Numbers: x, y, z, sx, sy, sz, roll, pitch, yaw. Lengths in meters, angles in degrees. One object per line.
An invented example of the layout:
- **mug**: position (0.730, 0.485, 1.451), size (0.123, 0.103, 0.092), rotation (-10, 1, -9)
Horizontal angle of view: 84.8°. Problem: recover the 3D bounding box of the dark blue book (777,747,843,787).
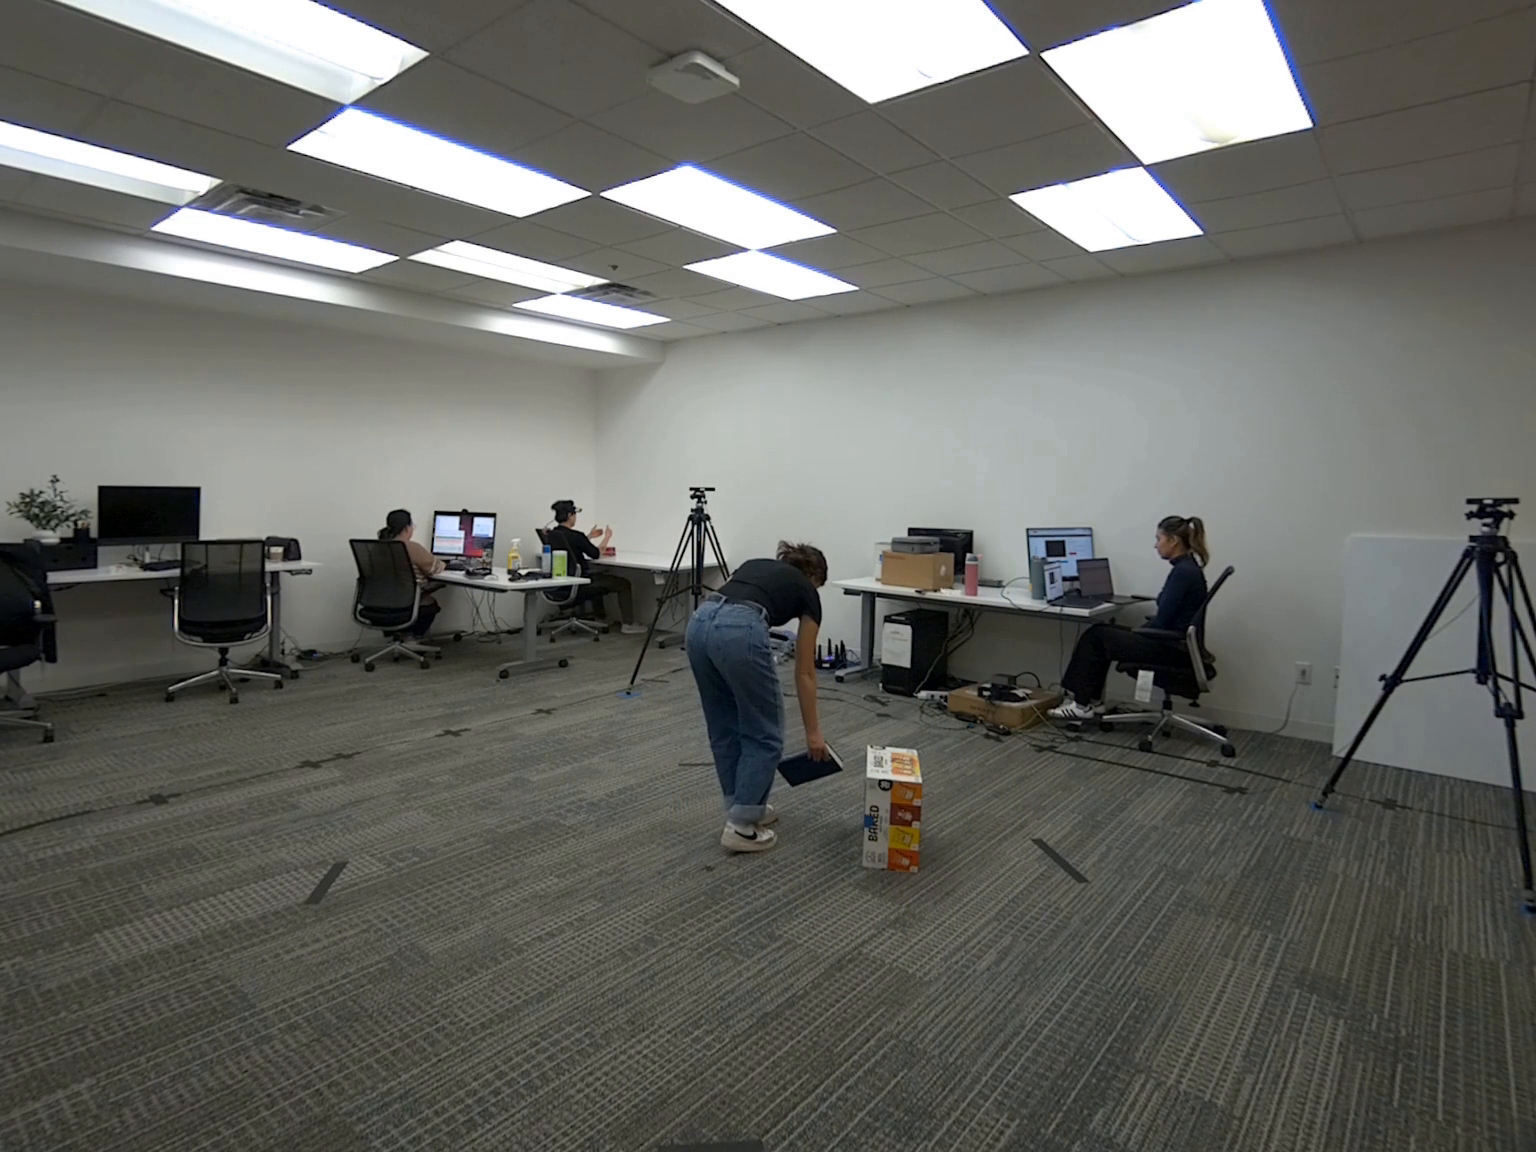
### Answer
- **dark blue book**: position (0.163, 0.786, 3.574), size (0.248, 0.158, 0.046), rotation (-23, 30, 20)
